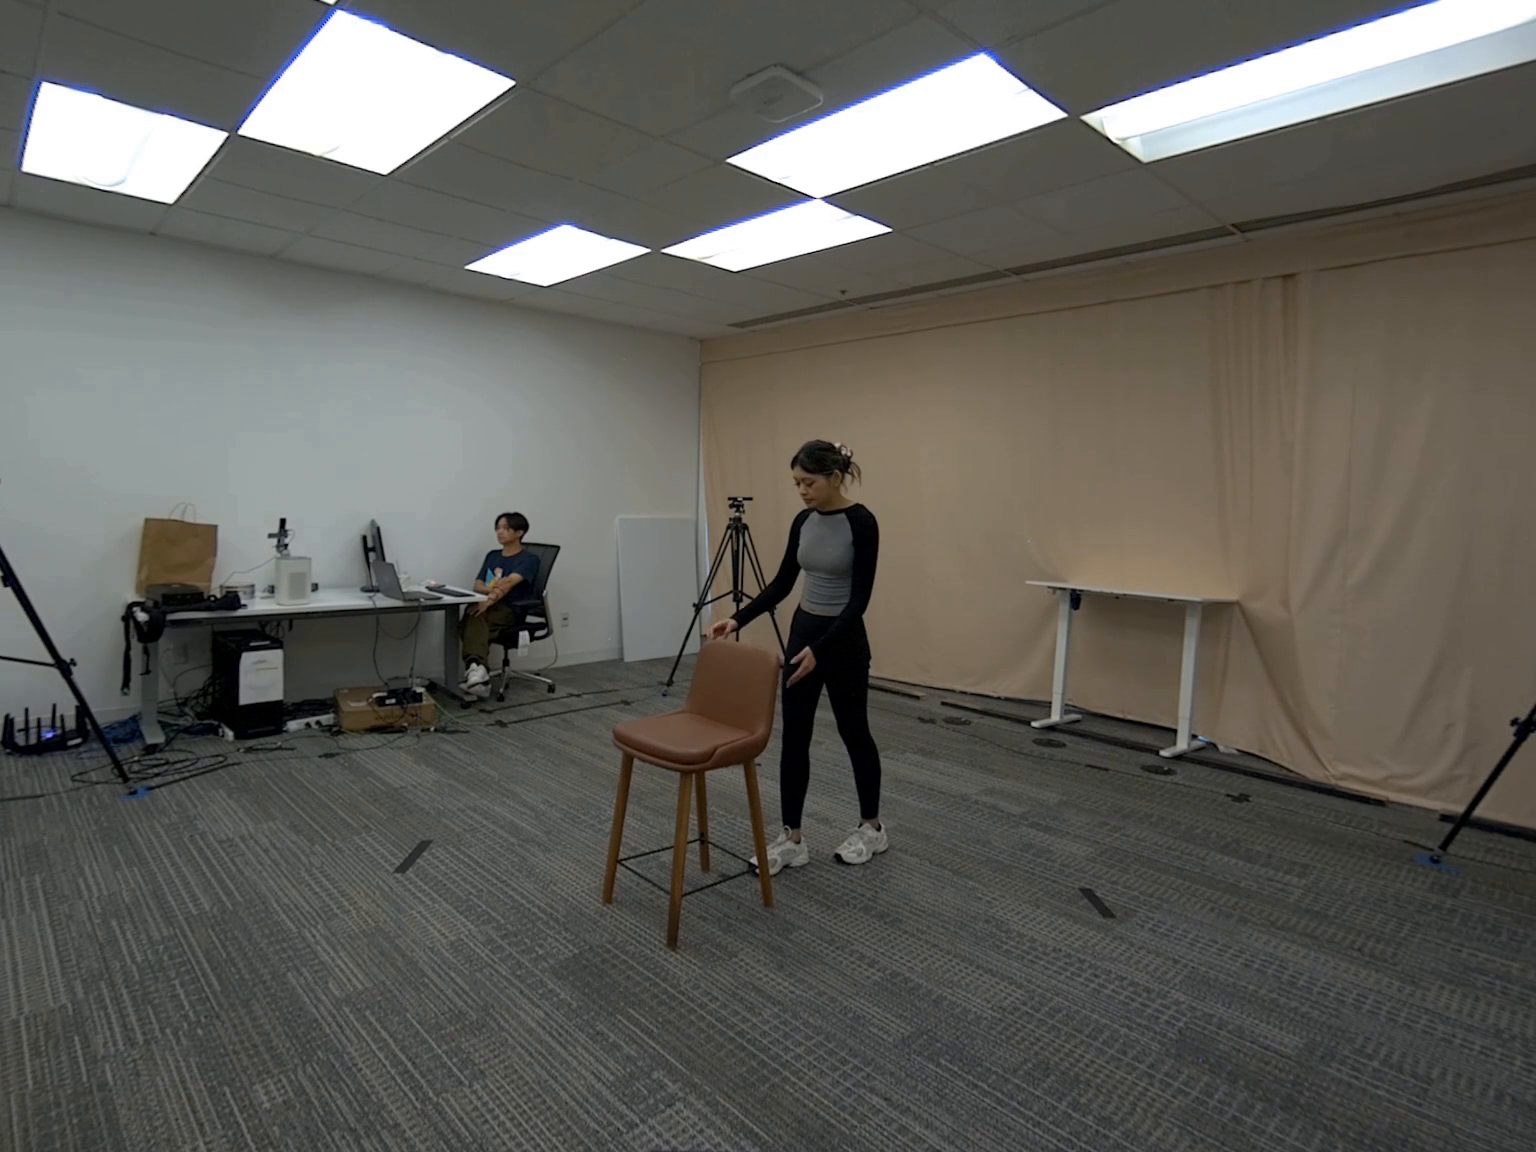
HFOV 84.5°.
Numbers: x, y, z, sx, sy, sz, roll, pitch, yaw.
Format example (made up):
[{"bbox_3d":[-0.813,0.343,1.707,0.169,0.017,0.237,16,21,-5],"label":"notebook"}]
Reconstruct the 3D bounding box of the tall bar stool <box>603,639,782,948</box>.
[{"bbox_3d":[-0.258,0.690,2.855,0.456,0.888,0.468,1,3,-41],"label":"tall bar stool"}]
